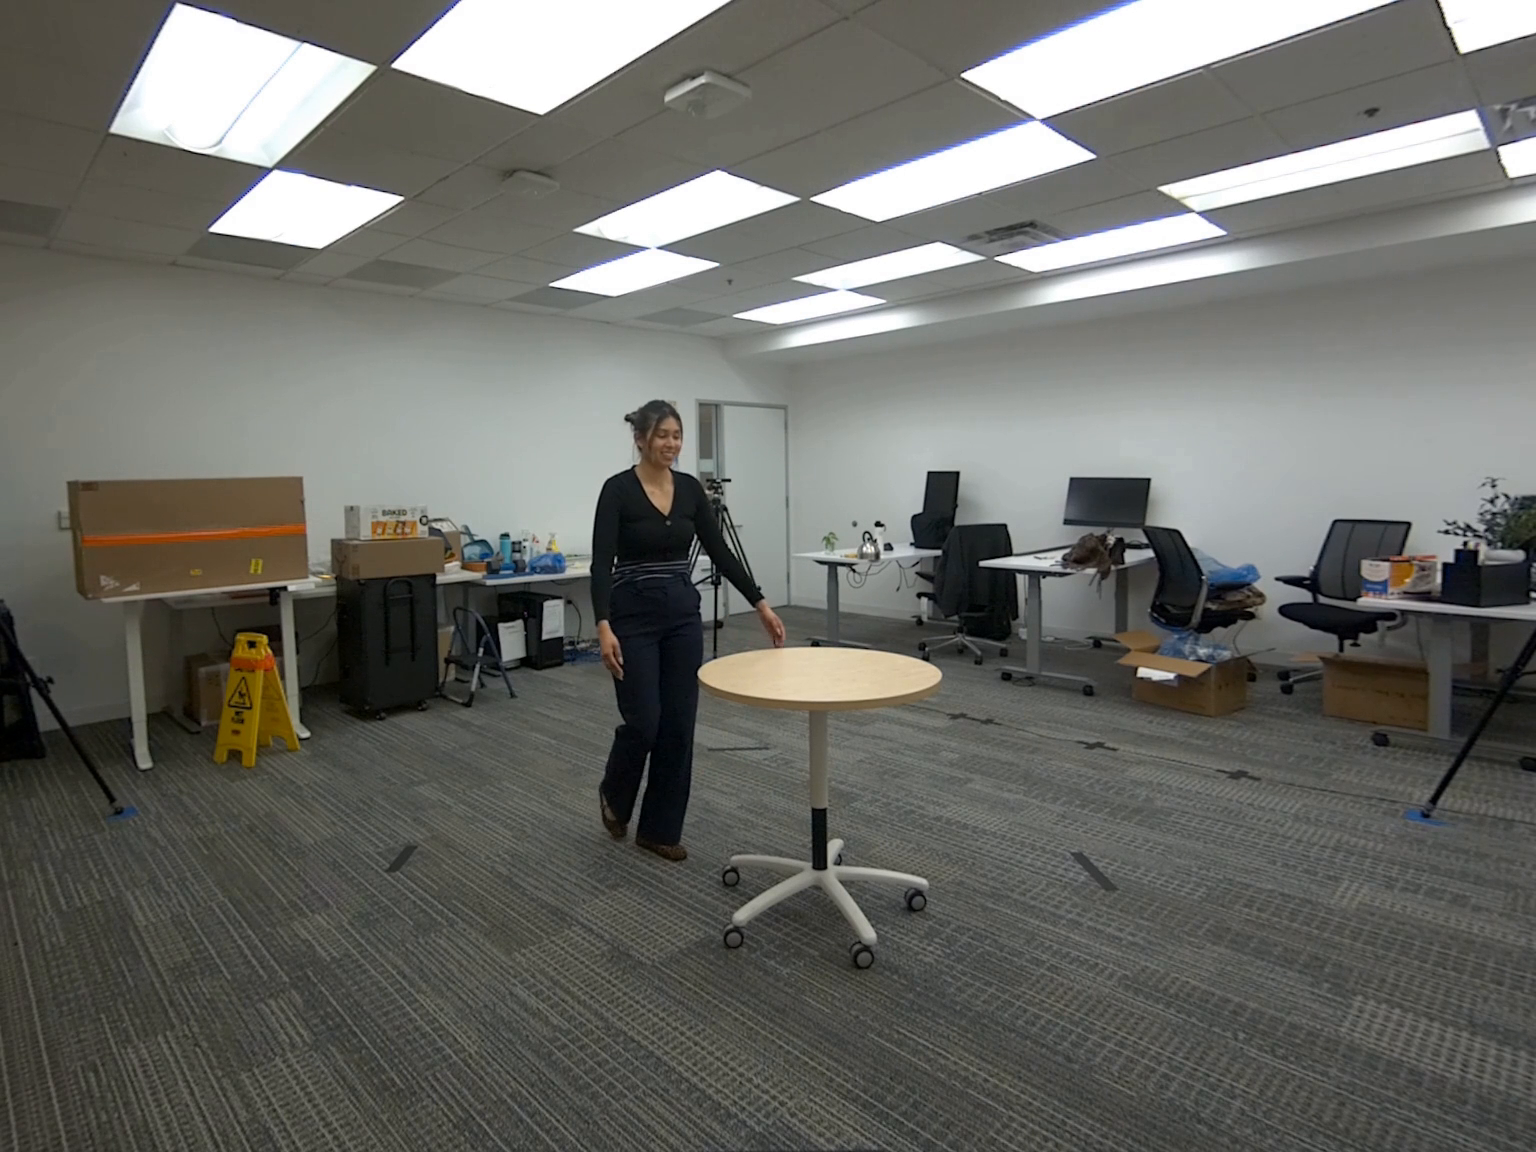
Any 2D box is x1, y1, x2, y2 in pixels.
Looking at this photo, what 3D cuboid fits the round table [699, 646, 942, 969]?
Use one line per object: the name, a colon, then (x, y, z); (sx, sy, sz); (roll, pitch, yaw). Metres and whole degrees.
round table: (0.167, 0.694, 2.738); (0.763, 0.791, 0.768); (-1, 5, -2)
